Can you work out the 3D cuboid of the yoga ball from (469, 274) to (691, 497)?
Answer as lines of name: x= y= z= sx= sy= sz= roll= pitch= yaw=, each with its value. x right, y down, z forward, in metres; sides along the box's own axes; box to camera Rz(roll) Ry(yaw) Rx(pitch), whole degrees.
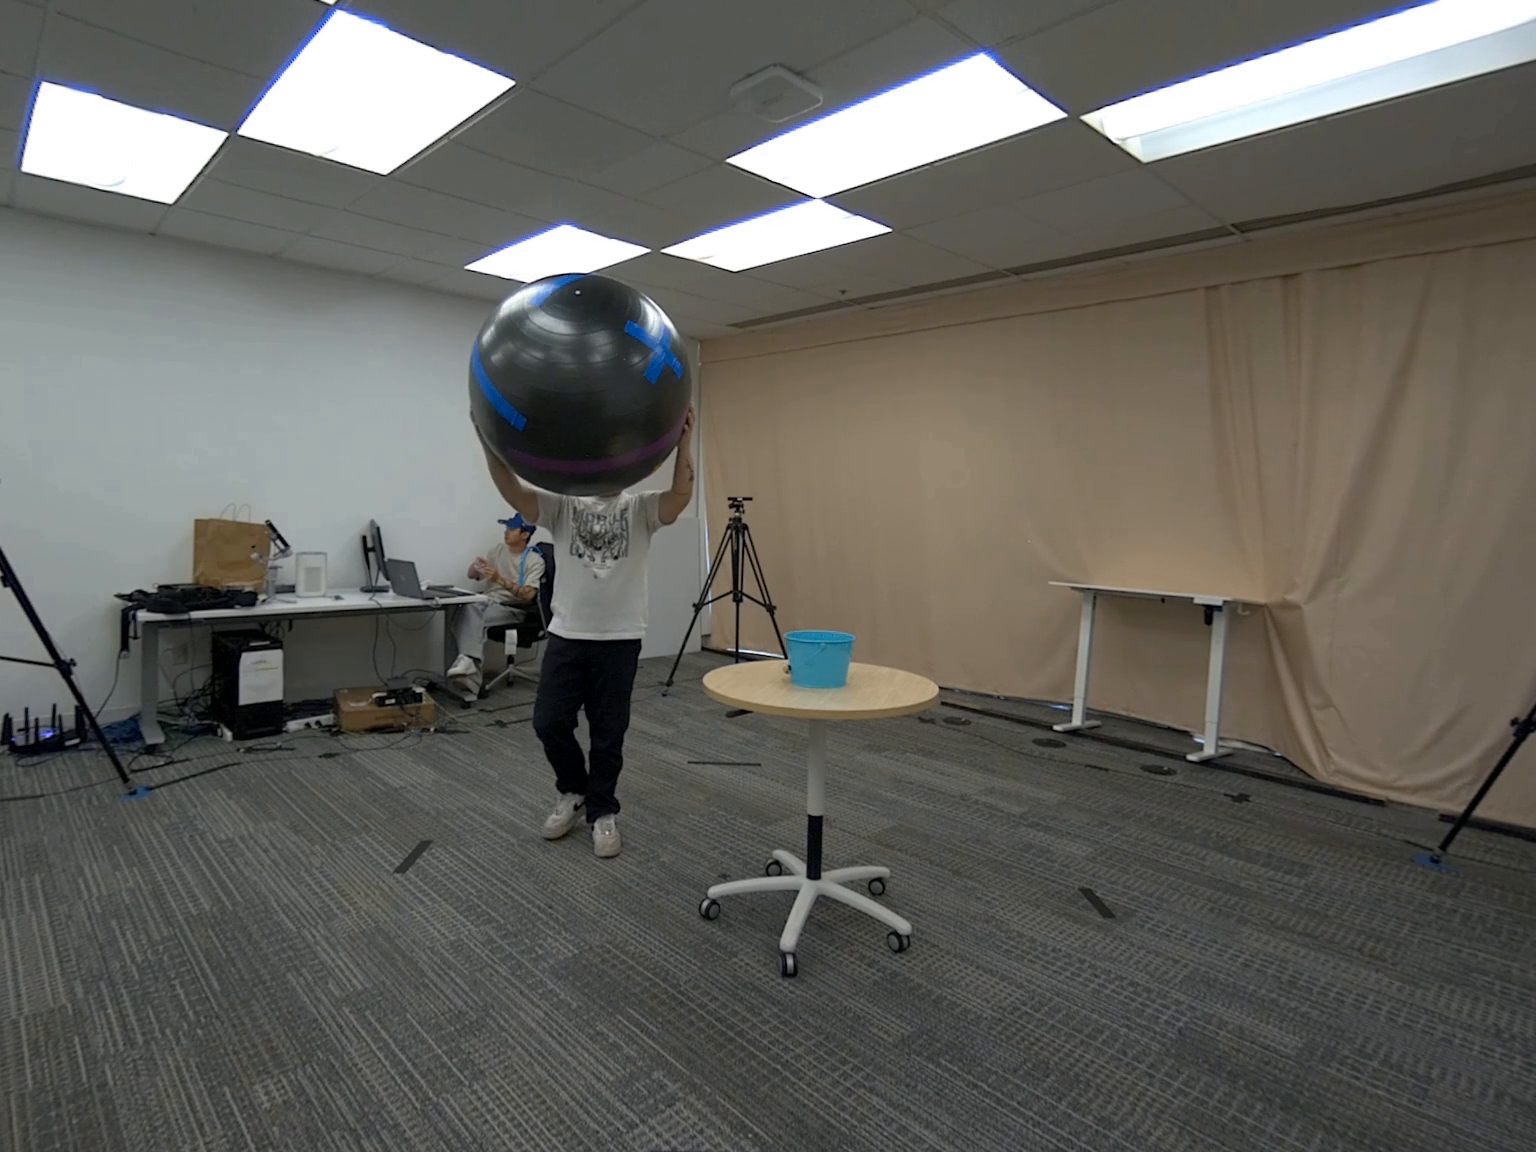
yoga ball: x=-0.647 y=-0.646 z=2.909 sx=0.757 sy=0.756 sz=0.760 roll=1 pitch=4 yaw=-1
